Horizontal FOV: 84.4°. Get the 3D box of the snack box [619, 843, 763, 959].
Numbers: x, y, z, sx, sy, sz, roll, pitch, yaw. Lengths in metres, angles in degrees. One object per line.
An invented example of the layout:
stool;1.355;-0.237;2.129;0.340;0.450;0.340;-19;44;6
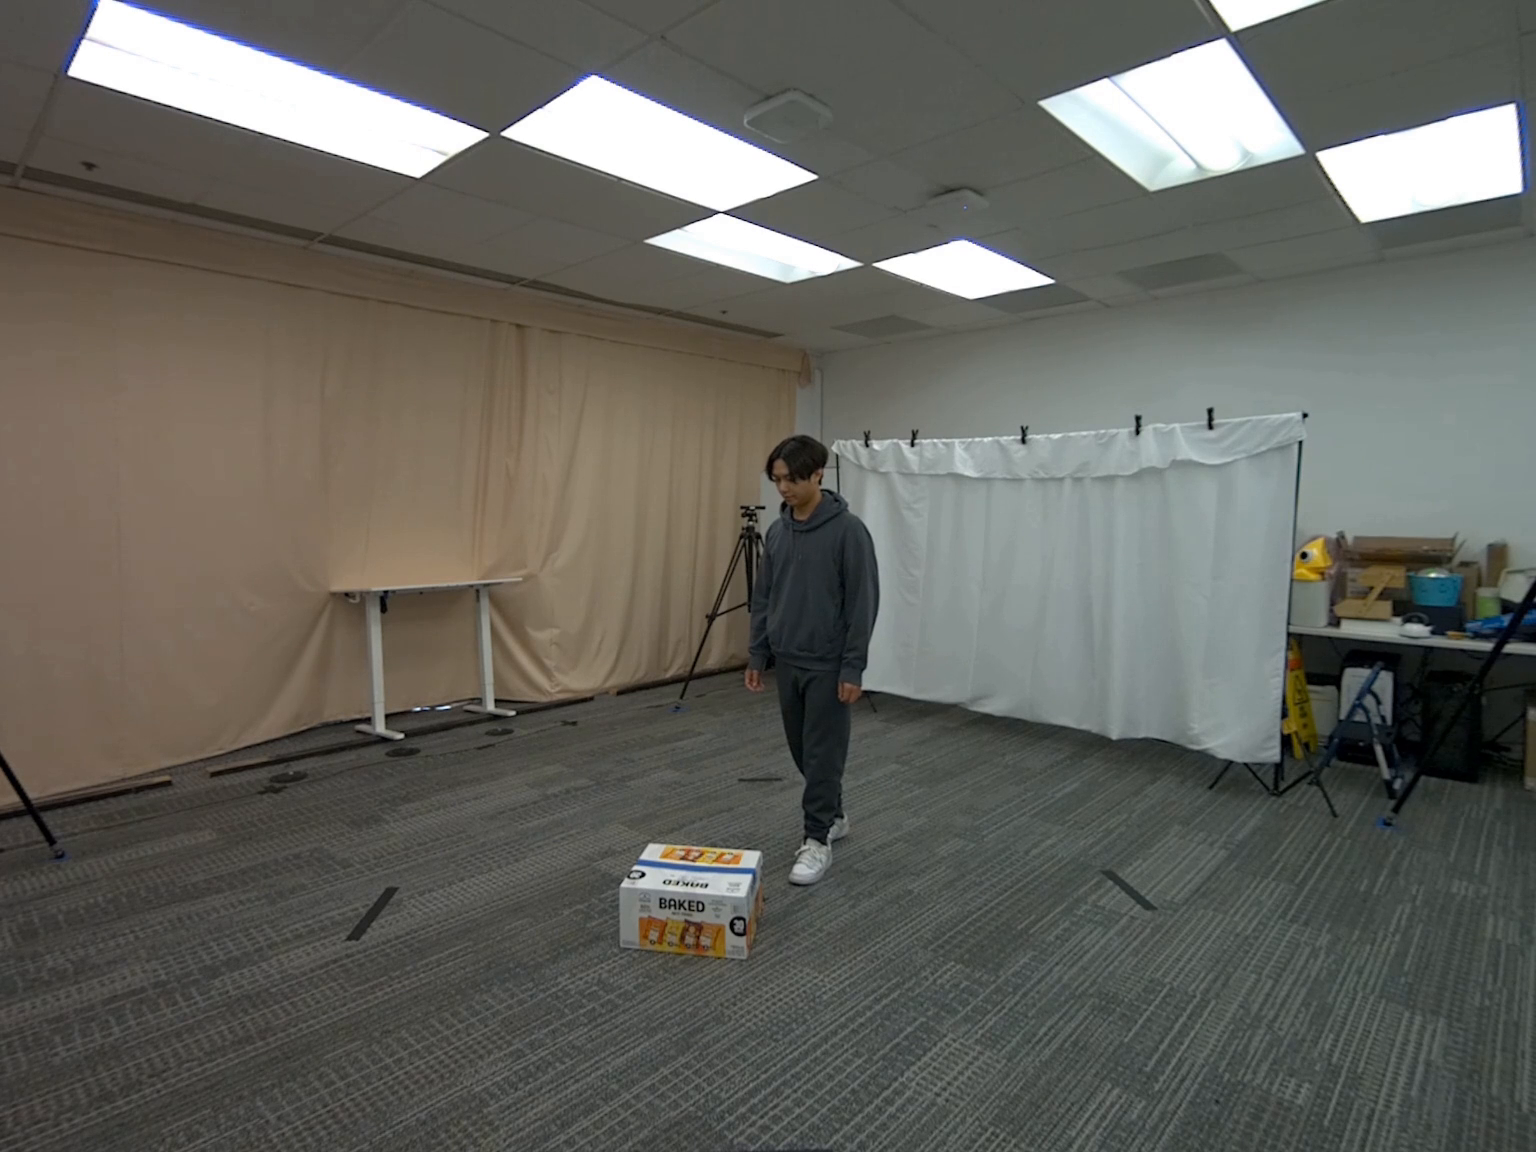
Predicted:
snack box;-0.240;1.062;2.769;0.410;0.205;0.337;0;4;10
